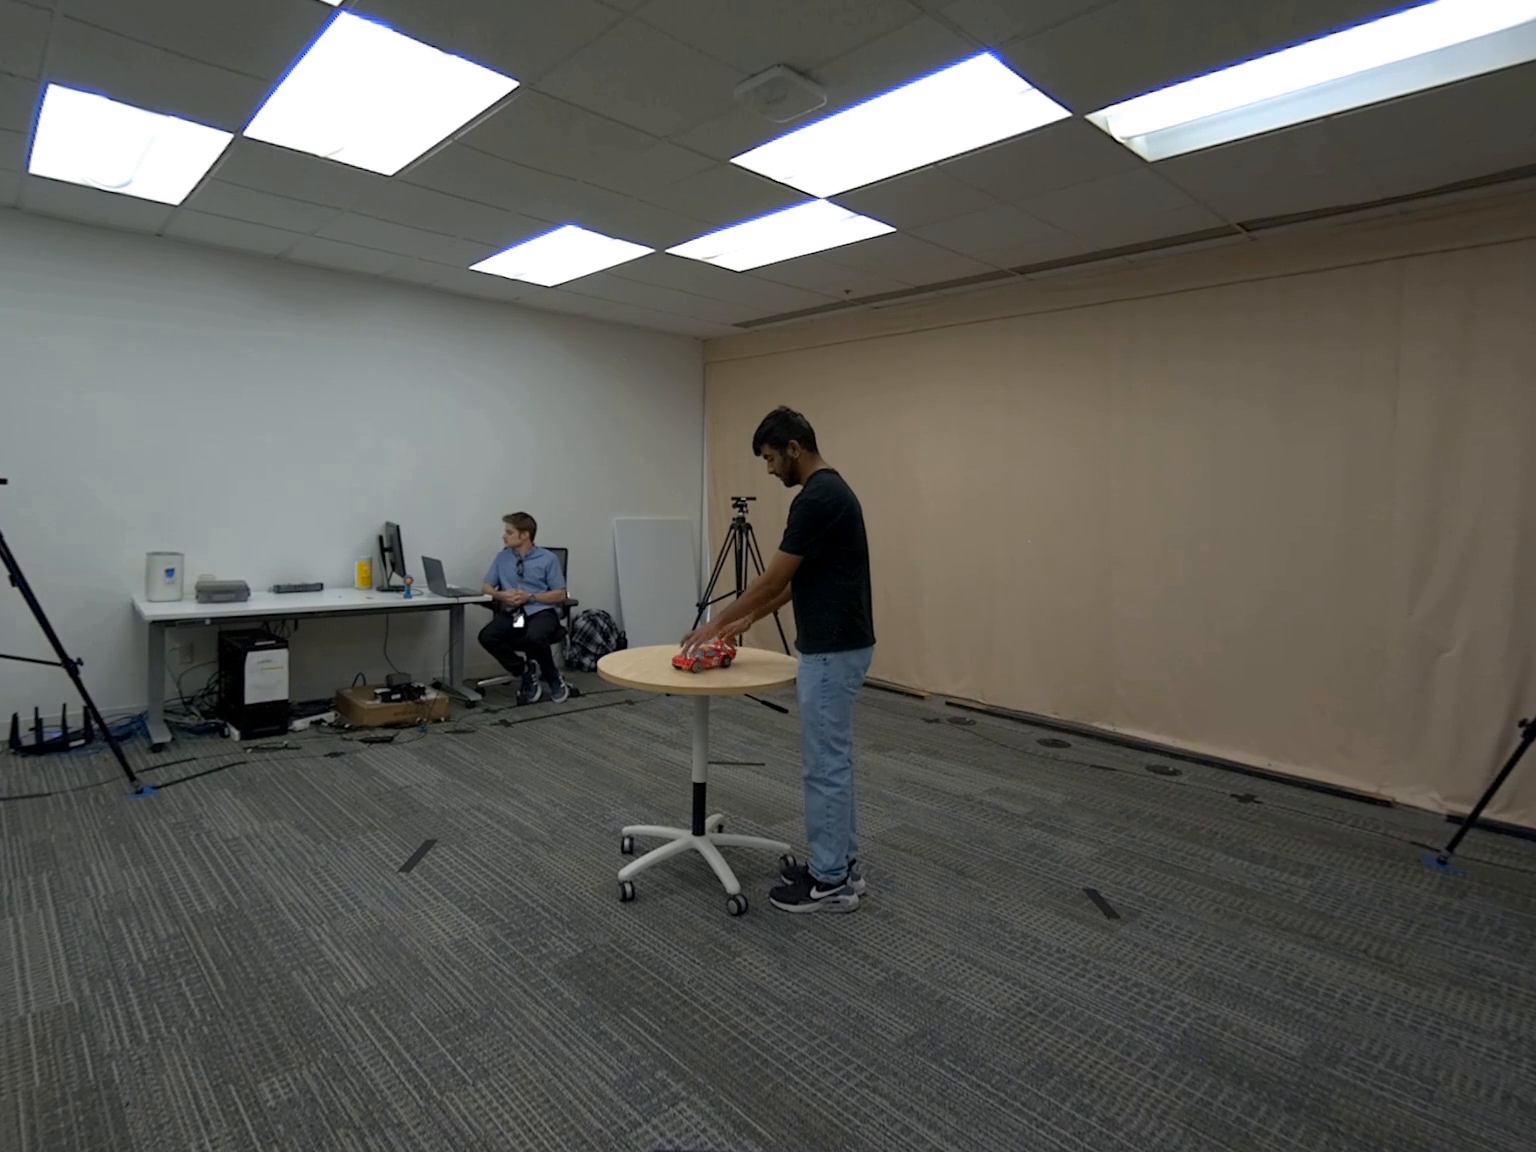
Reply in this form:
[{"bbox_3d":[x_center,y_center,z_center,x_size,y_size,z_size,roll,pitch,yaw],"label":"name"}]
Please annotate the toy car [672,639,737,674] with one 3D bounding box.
[{"bbox_3d":[-0.221,0.297,3.028,0.134,0.082,0.250,6,18,44],"label":"toy car"}]
